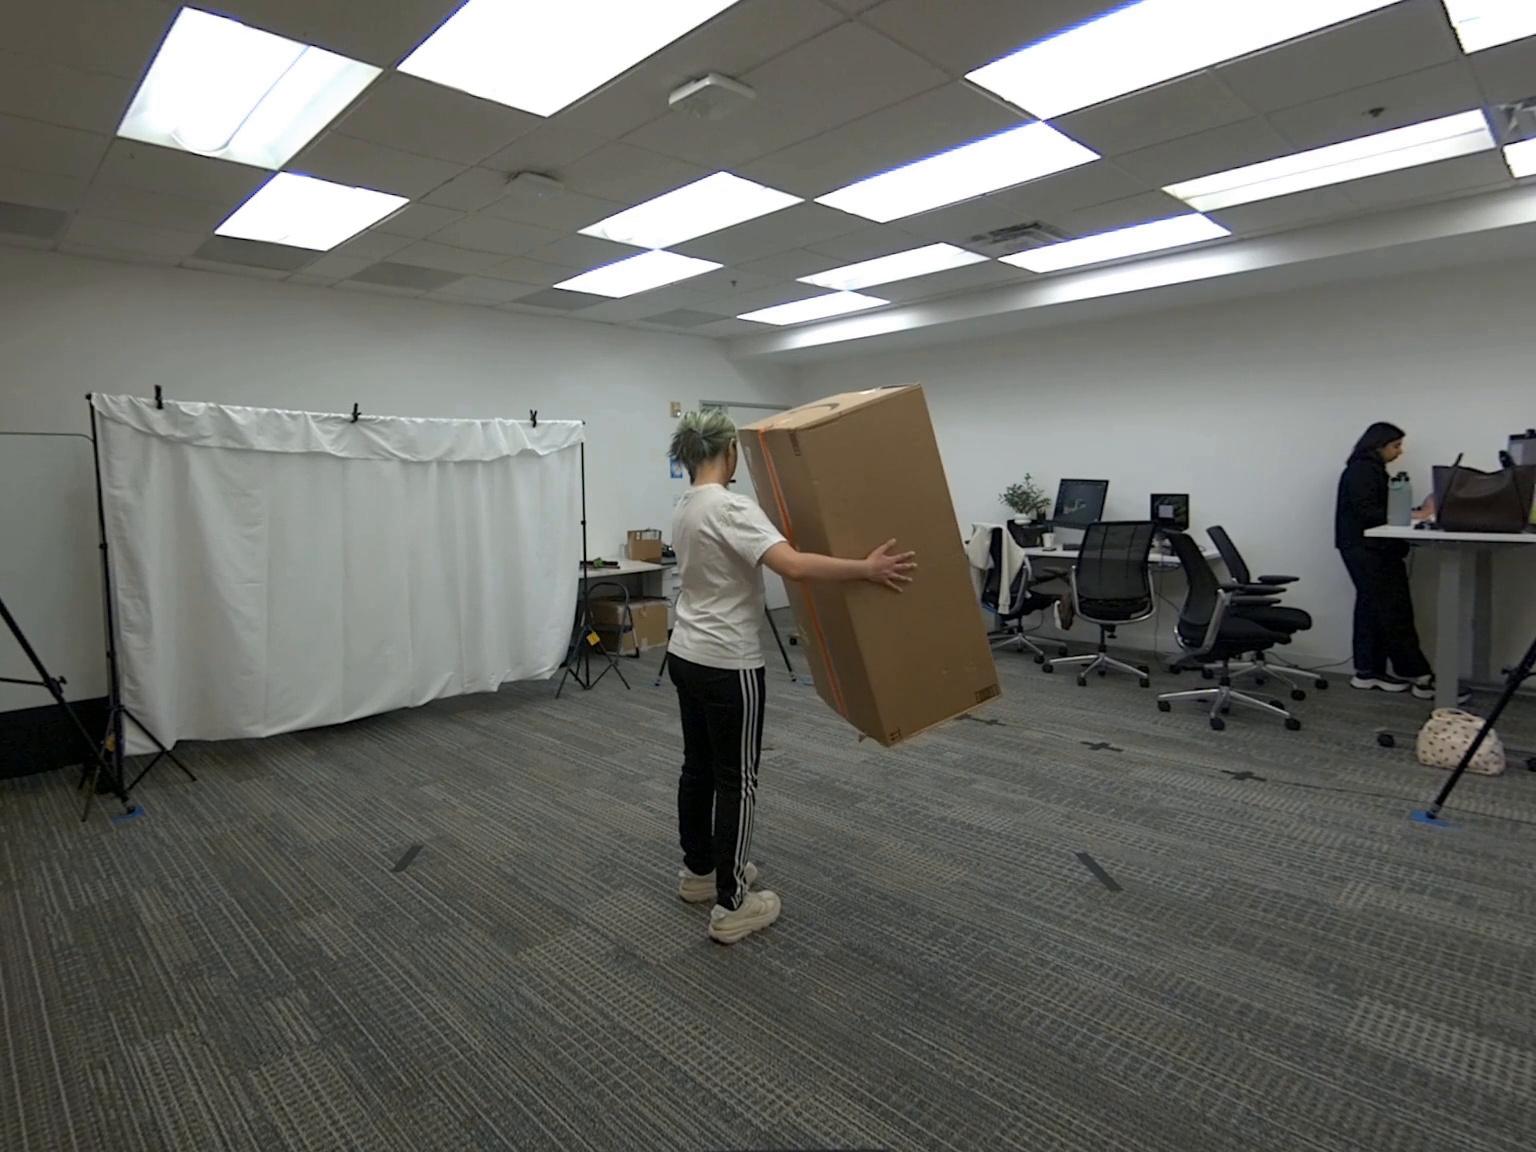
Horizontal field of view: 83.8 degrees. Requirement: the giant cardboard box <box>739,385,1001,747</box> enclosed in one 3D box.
[{"bbox_3d":[0.315,-0.055,2.818,0.443,1.013,0.597,-20,13,-16],"label":"giant cardboard box"}]
